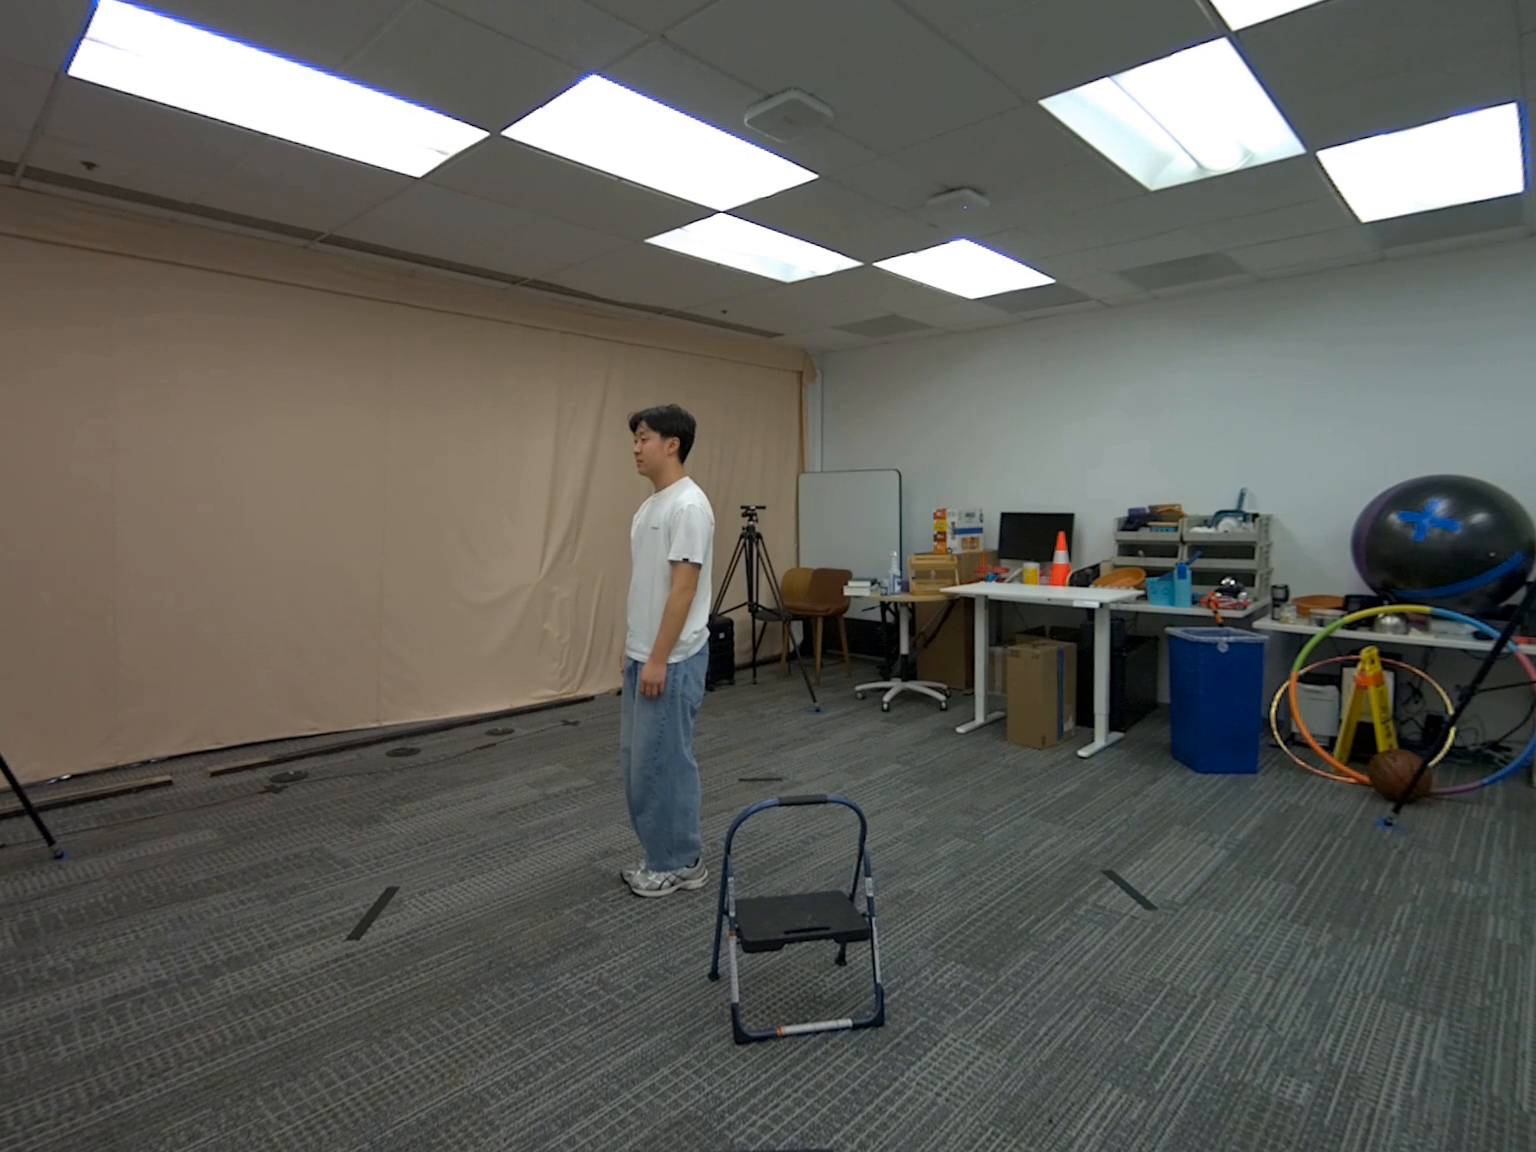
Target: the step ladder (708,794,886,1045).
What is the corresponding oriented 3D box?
[{"bbox_3d":[0.072,0.897,2.360,0.425,0.605,0.355,-1,3,-13],"label":"step ladder"}]
